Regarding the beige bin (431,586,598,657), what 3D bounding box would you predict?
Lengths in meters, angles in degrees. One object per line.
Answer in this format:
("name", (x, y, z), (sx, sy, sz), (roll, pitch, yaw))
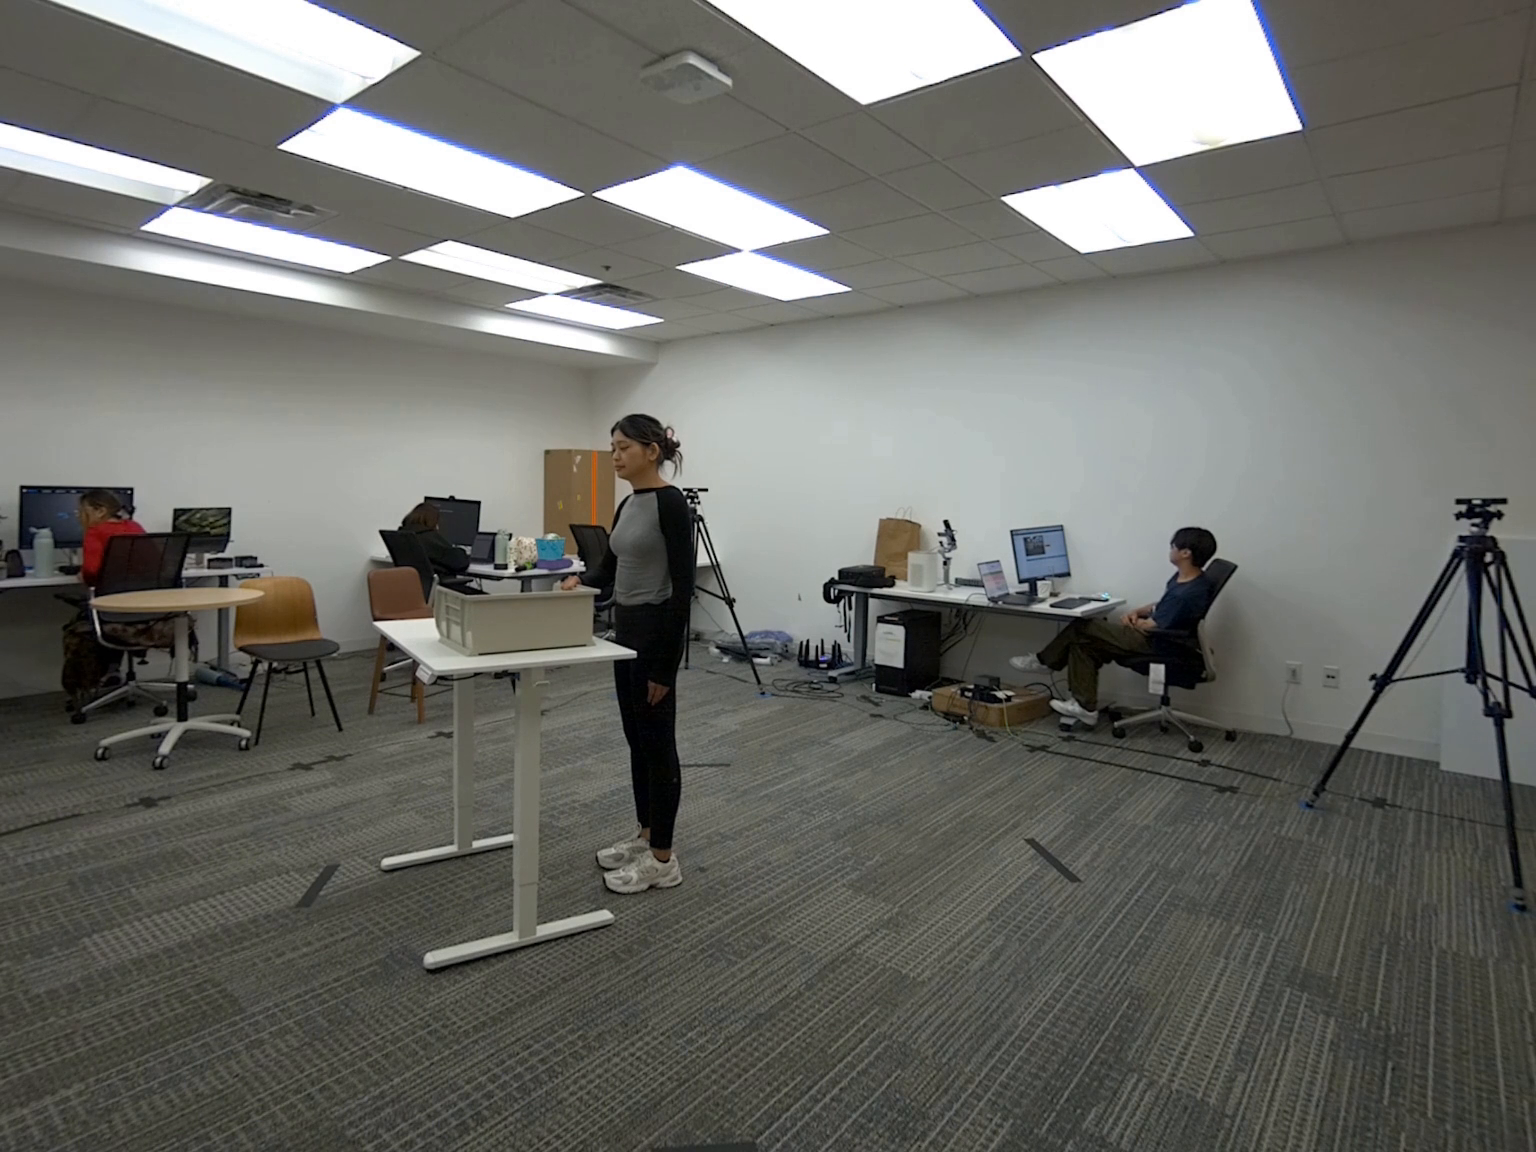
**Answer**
("beige bin", (-0.825, 0.127, 2.727), (0.410, 0.188, 0.390), (-2, 7, -35))
